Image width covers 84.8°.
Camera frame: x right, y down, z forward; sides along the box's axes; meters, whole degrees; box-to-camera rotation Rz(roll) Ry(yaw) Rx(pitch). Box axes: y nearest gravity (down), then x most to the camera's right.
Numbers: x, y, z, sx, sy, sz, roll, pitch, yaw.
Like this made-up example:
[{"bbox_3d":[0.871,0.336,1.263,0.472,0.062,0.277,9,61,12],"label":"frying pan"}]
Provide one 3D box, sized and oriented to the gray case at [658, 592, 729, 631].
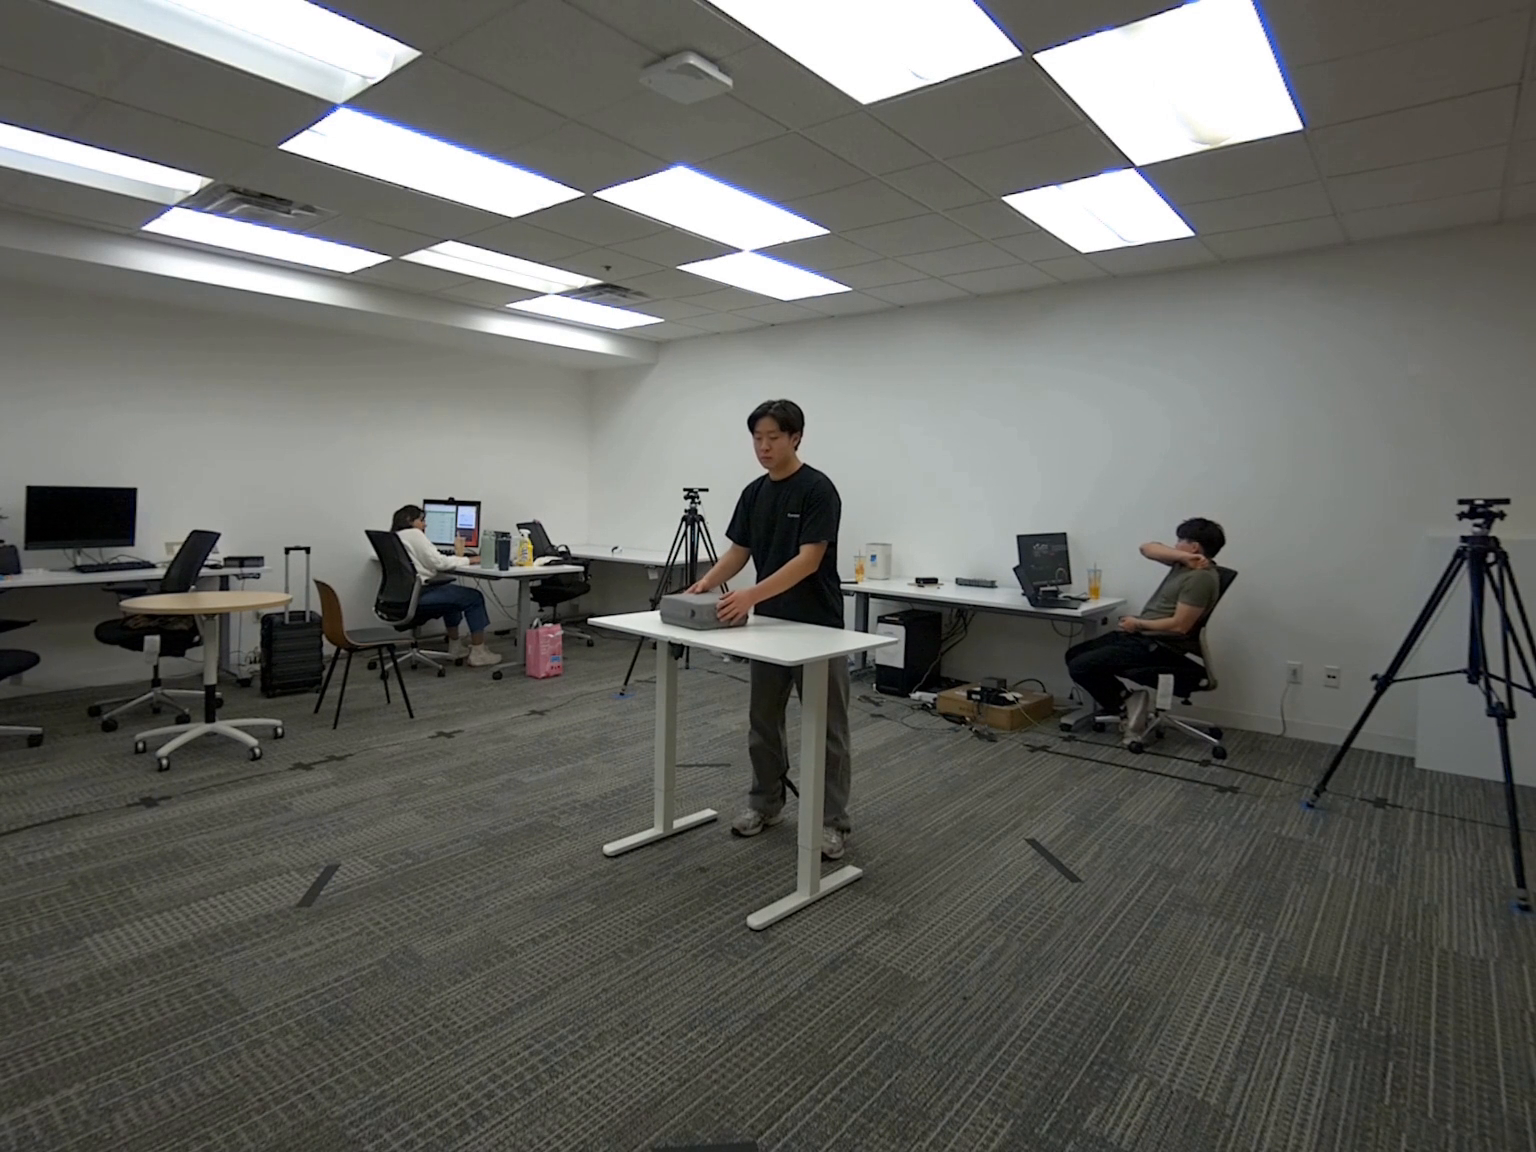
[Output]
[{"bbox_3d":[-0.241,0.130,3.177,0.255,0.102,0.297,-3,8,-41],"label":"gray case"}]
